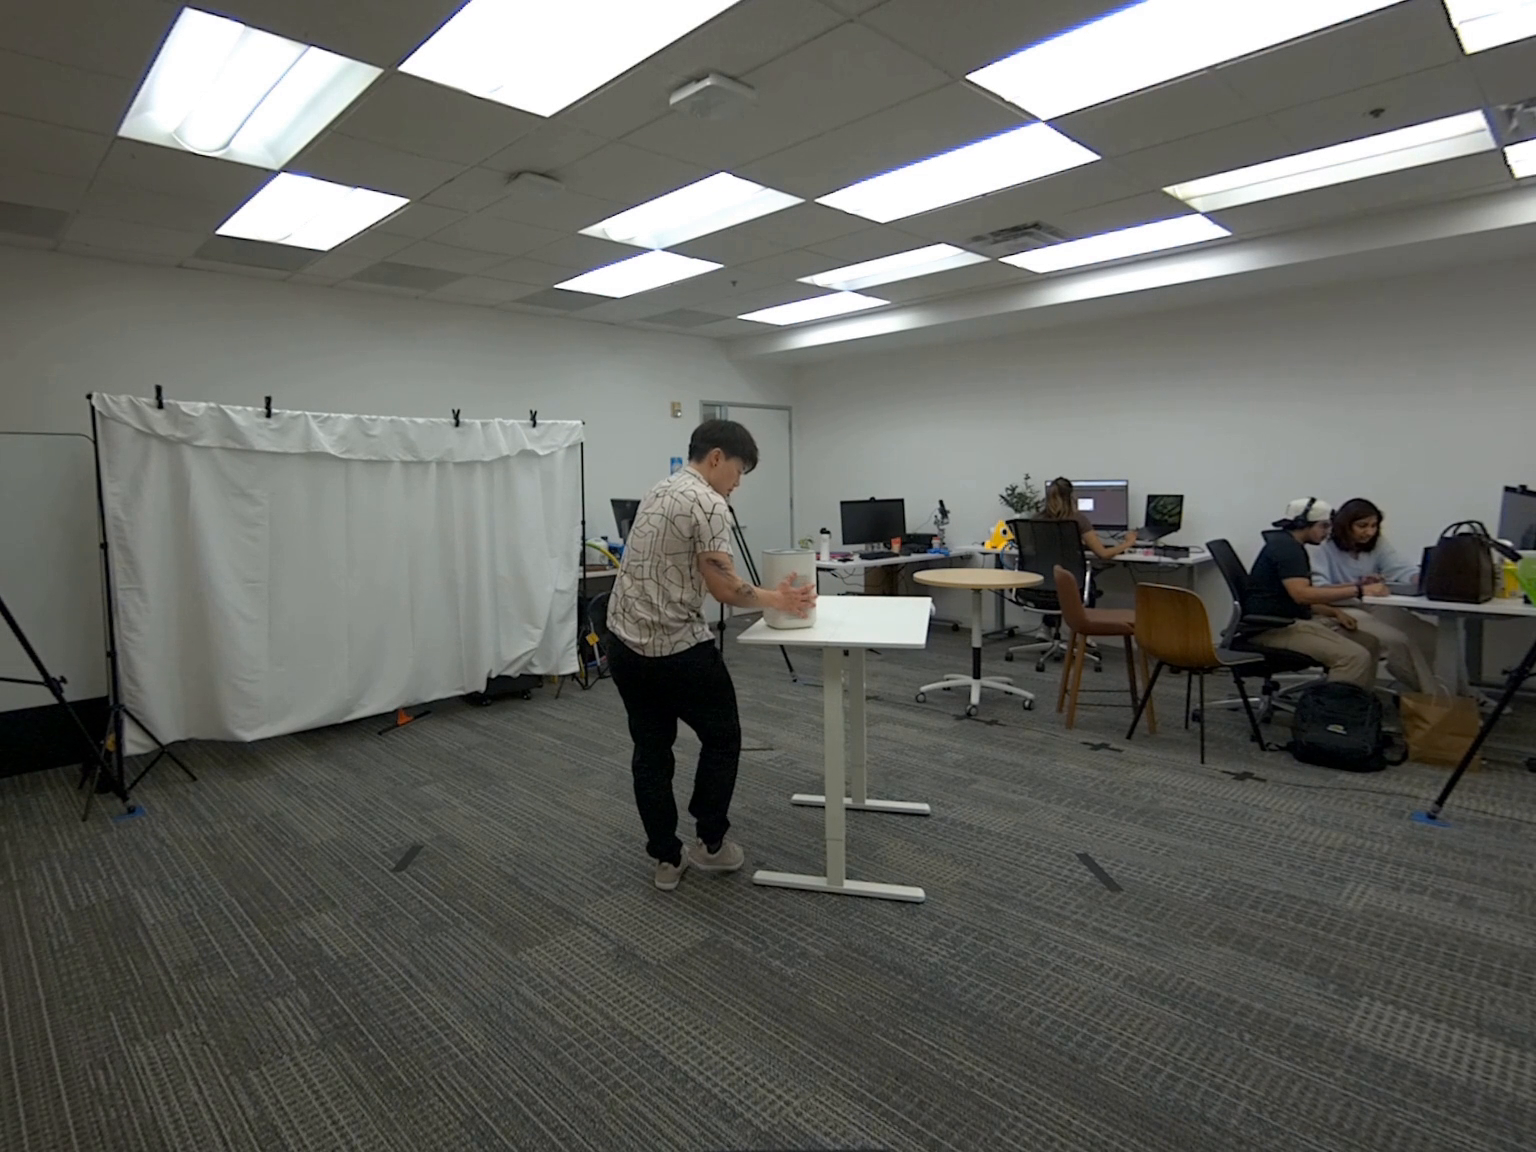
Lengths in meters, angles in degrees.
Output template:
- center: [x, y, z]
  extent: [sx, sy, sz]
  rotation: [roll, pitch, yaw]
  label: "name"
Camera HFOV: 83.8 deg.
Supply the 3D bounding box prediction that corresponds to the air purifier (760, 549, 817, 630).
- center: [0.074, 0.045, 2.998]
  extent: [0.169, 0.264, 0.174]
  rotation: [-1, 5, -18]
  label: "air purifier"
